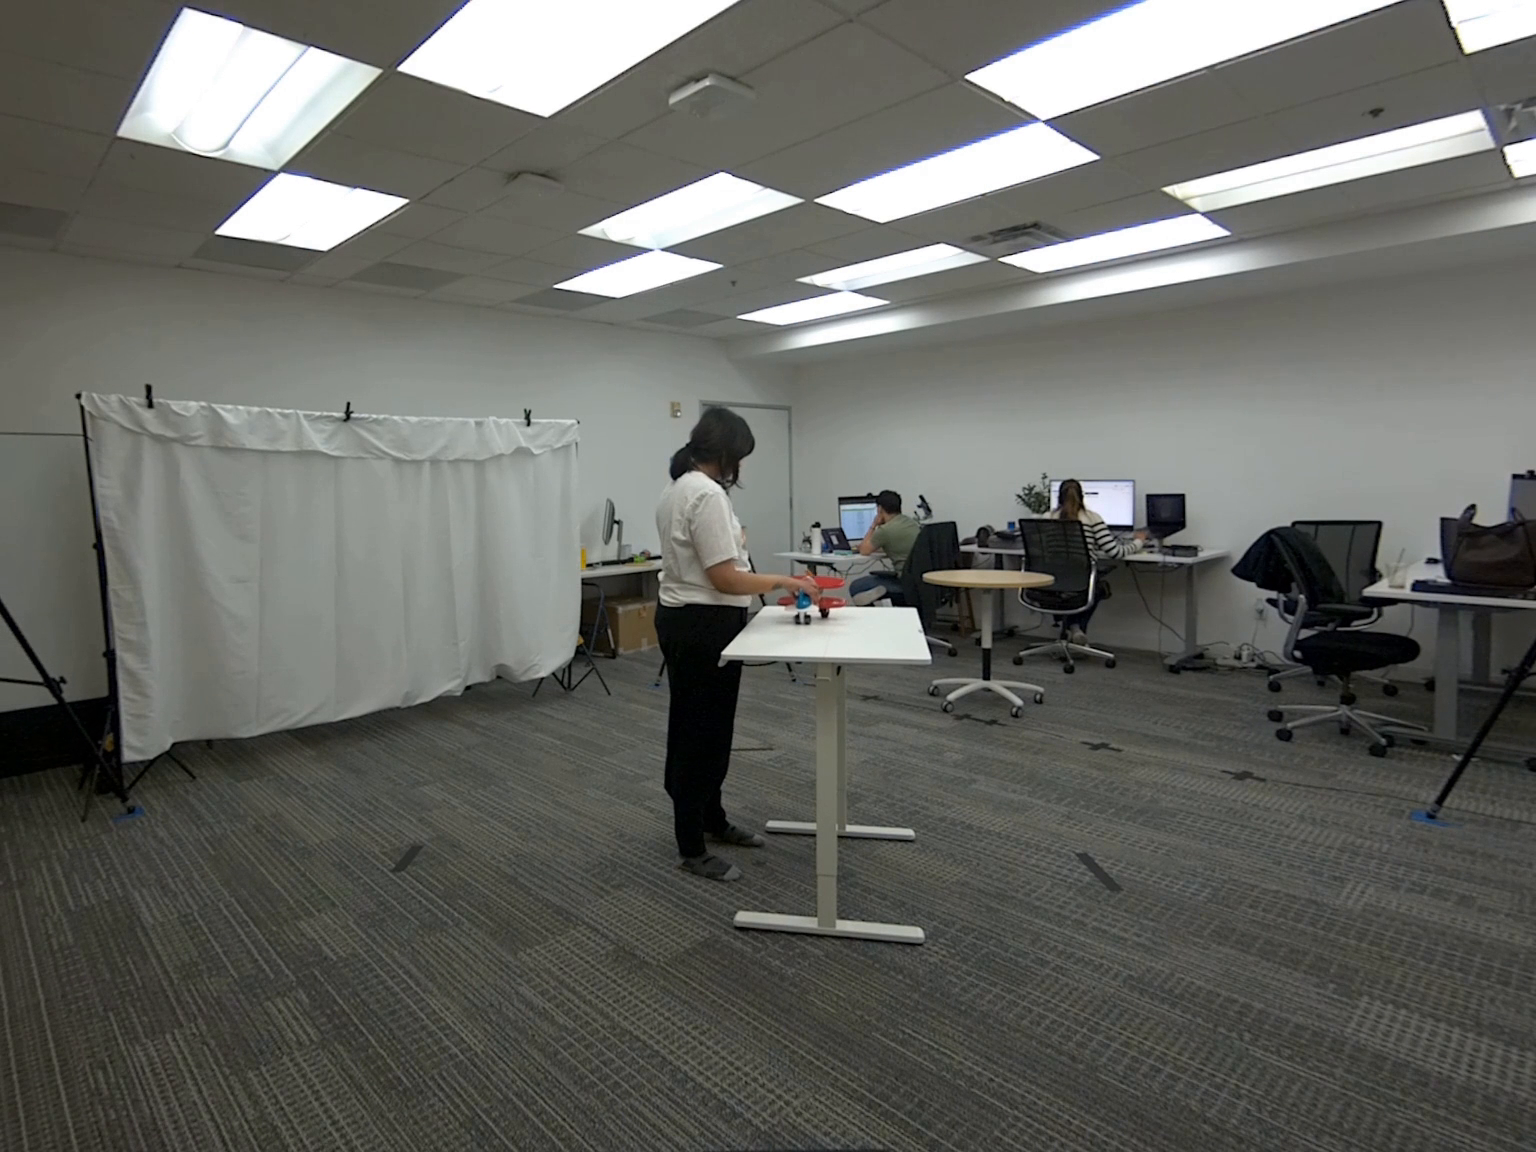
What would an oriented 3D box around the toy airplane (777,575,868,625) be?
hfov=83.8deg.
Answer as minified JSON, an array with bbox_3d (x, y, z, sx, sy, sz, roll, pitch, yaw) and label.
[{"bbox_3d":[0.167,0.084,3.098,0.248,0.156,0.263,-2,5,-12],"label":"toy airplane"}]
